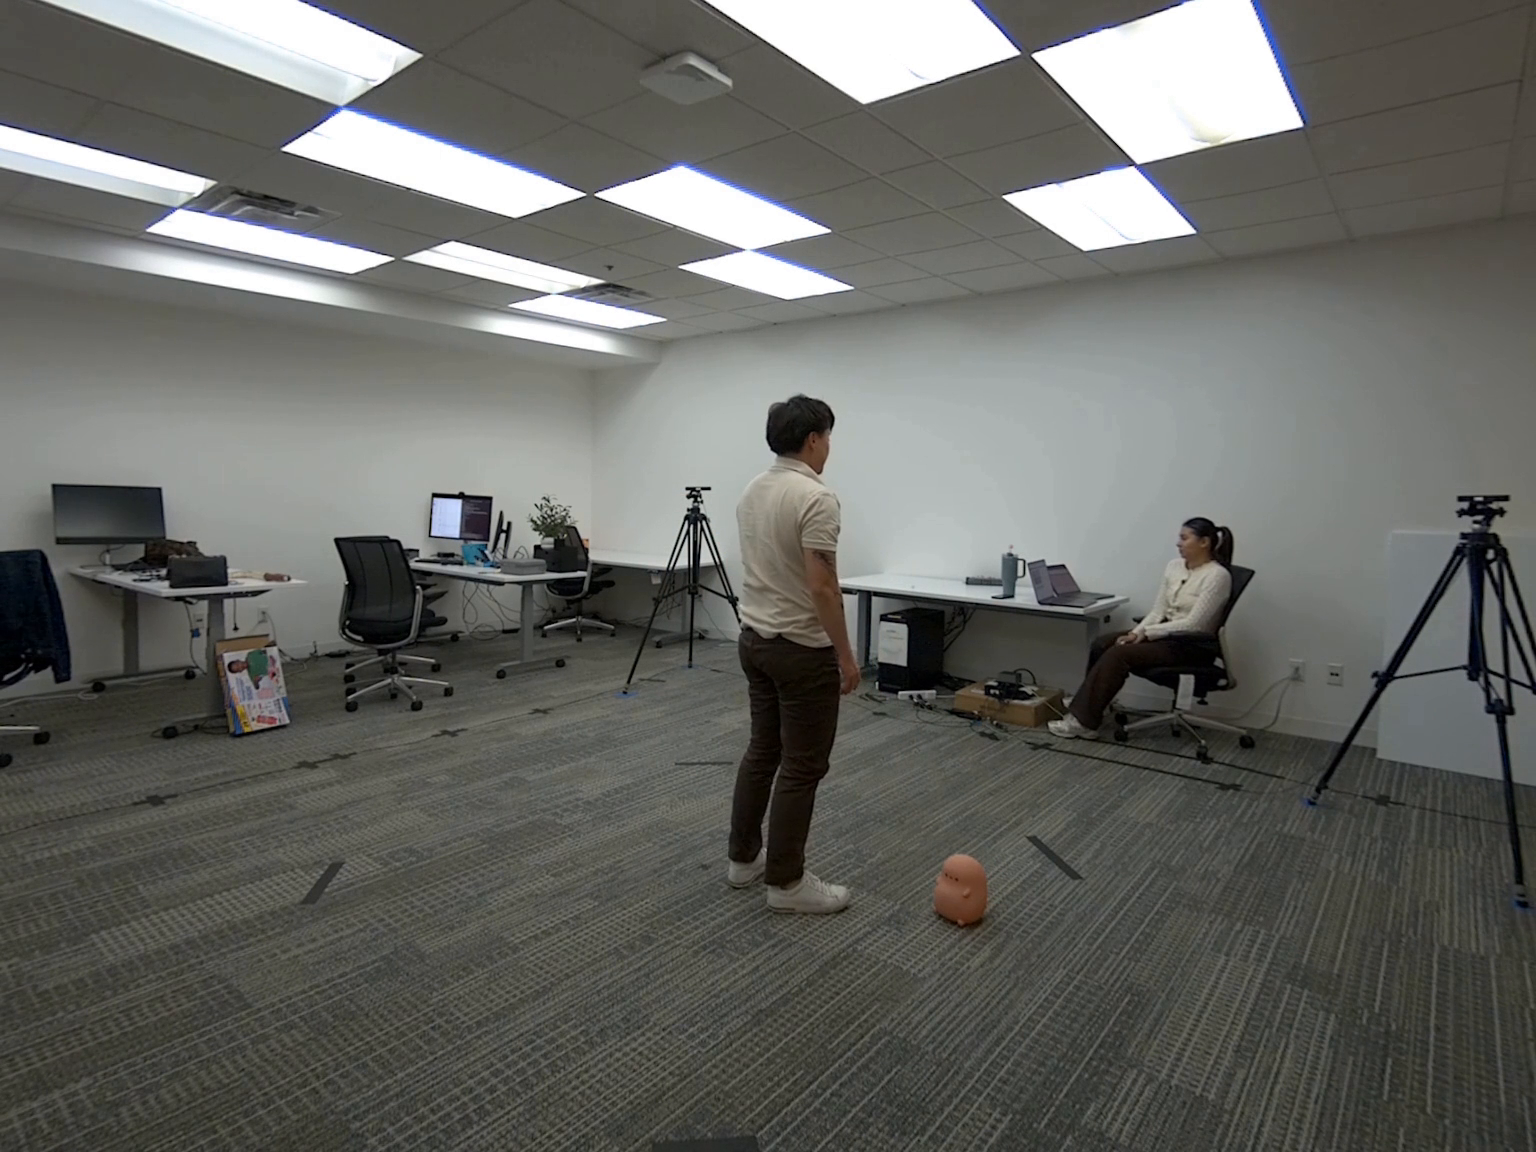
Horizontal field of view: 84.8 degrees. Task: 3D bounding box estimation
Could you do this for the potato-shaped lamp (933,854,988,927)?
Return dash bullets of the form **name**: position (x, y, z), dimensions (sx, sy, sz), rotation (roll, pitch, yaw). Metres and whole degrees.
- **potato-shaped lamp**: position (0.629, 1.014, 2.794), dimensions (0.166, 0.198, 0.170), rotation (0, 3, -40)
